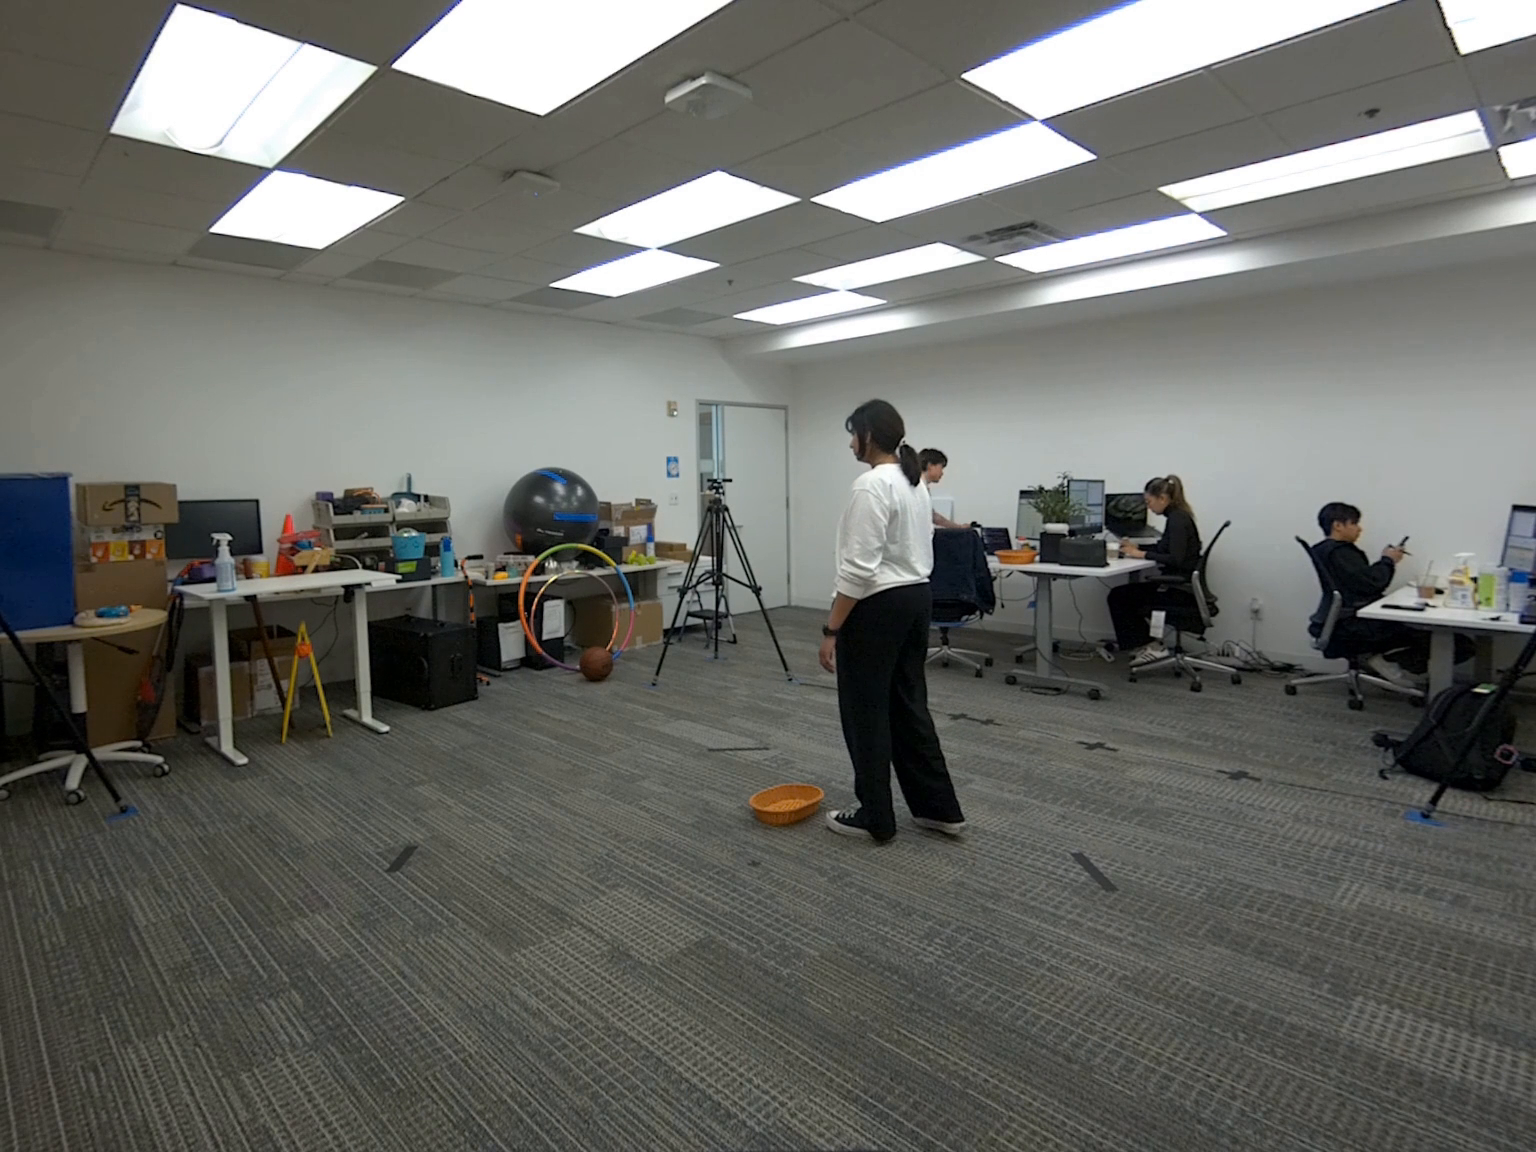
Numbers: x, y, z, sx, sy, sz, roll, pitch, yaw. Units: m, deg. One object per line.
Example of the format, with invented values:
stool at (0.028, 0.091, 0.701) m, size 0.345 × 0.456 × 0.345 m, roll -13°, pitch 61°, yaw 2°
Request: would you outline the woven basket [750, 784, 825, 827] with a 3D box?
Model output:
woven basket at (0.082, 0.950, 3.569) m, size 0.341 × 0.073 × 0.260 m, roll -8°, pitch 8°, yaw -43°
